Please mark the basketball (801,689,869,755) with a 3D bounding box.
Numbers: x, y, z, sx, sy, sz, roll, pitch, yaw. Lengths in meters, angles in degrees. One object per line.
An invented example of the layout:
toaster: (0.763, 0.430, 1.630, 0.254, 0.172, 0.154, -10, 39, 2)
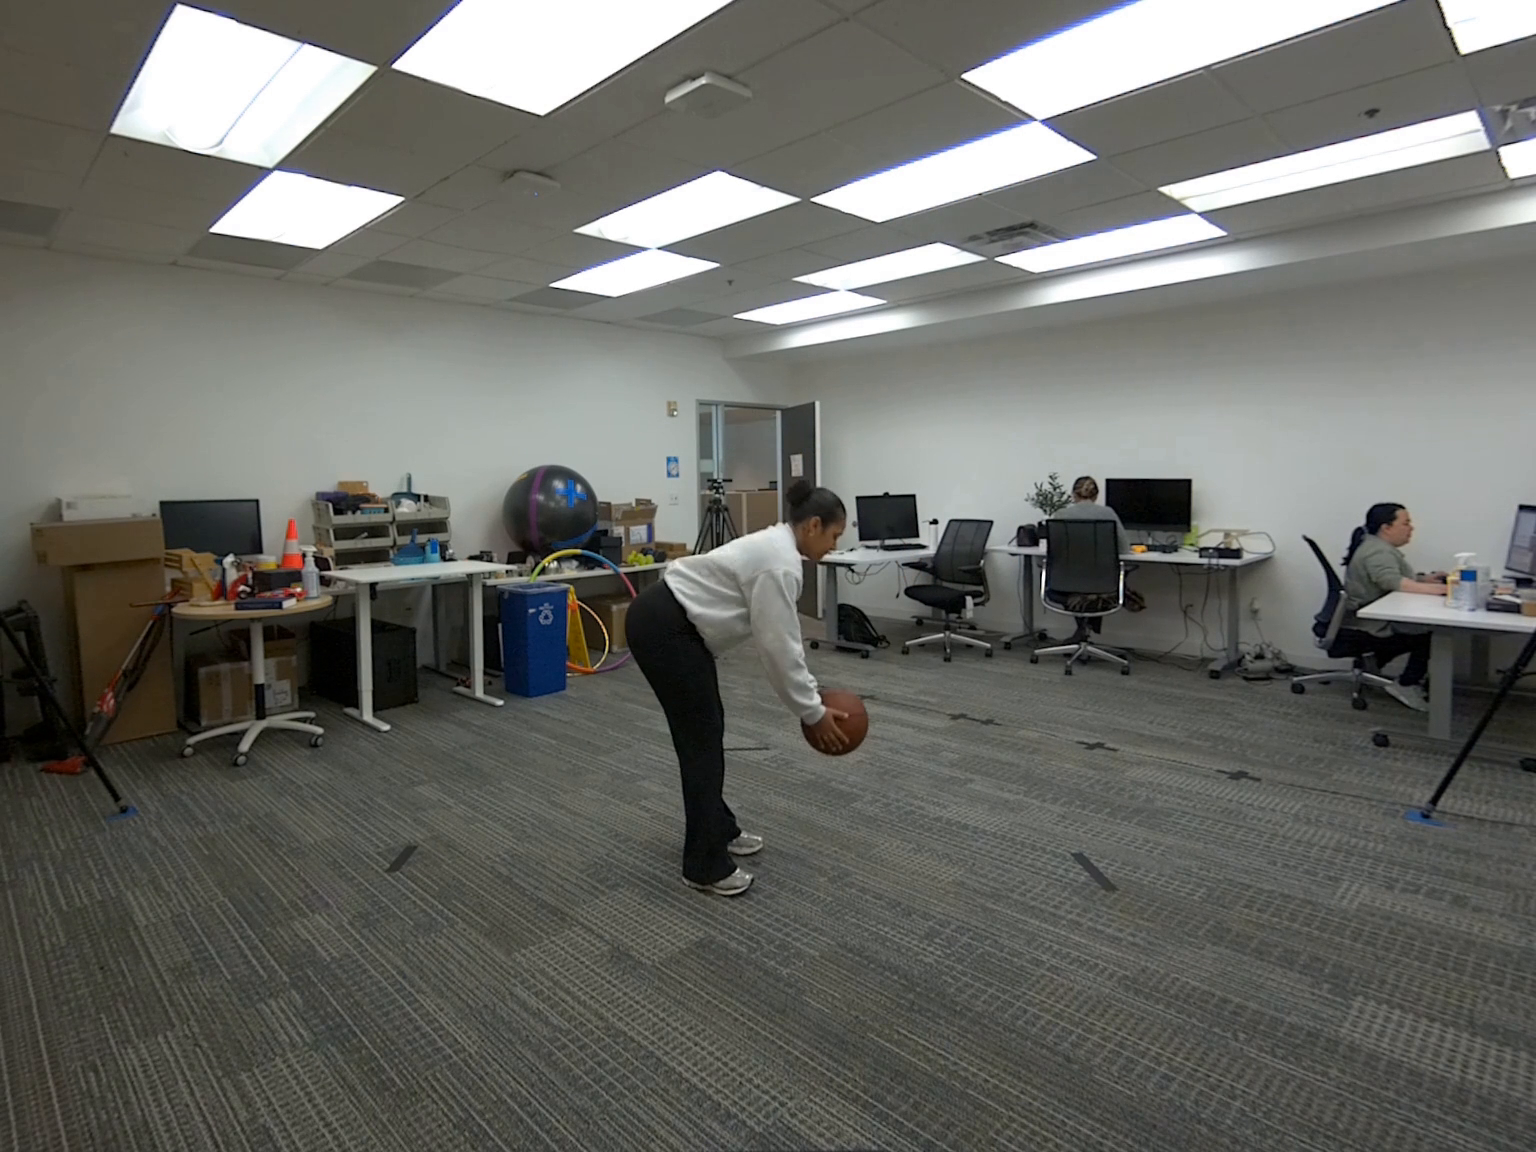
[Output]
basketball: (0.235, 0.502, 3.013, 0.236, 0.235, 0.237, -1, 5, -2)
